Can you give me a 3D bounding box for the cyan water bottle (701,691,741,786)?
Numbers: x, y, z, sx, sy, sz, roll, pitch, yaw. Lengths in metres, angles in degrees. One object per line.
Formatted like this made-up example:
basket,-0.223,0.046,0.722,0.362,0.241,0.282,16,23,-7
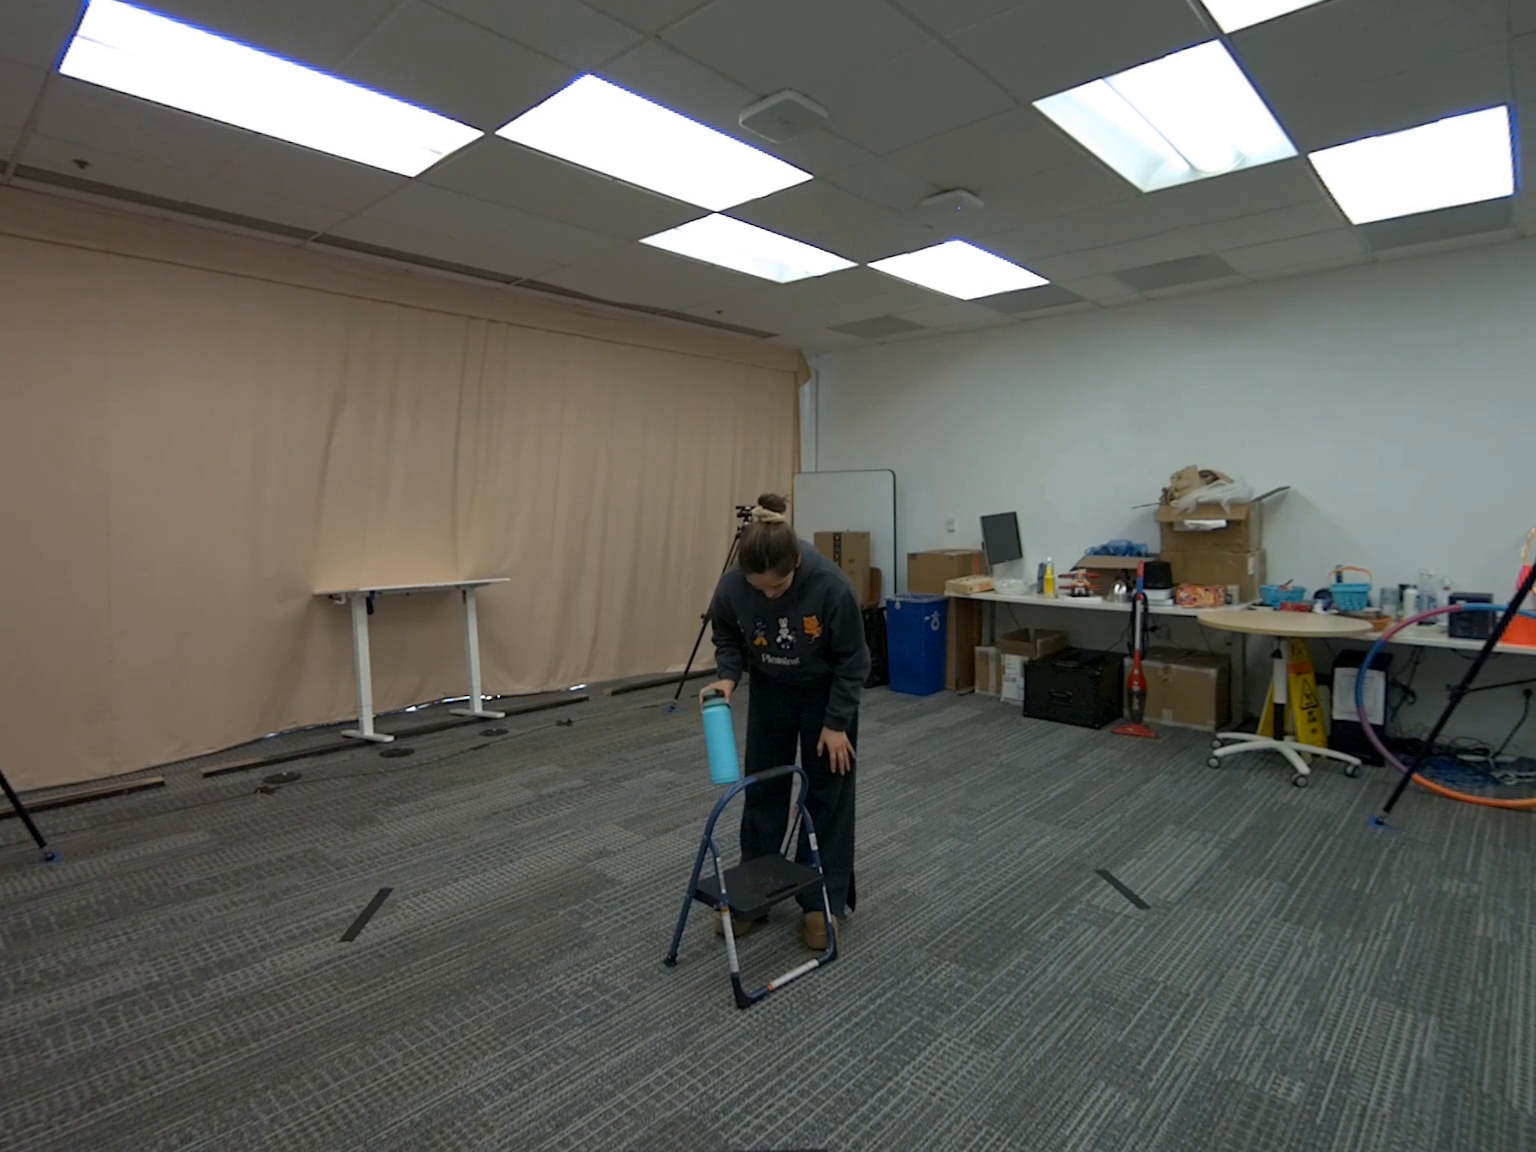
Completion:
cyan water bottle,-0.117,0.510,2.584,0.092,0.287,0.091,-6,-16,-4
